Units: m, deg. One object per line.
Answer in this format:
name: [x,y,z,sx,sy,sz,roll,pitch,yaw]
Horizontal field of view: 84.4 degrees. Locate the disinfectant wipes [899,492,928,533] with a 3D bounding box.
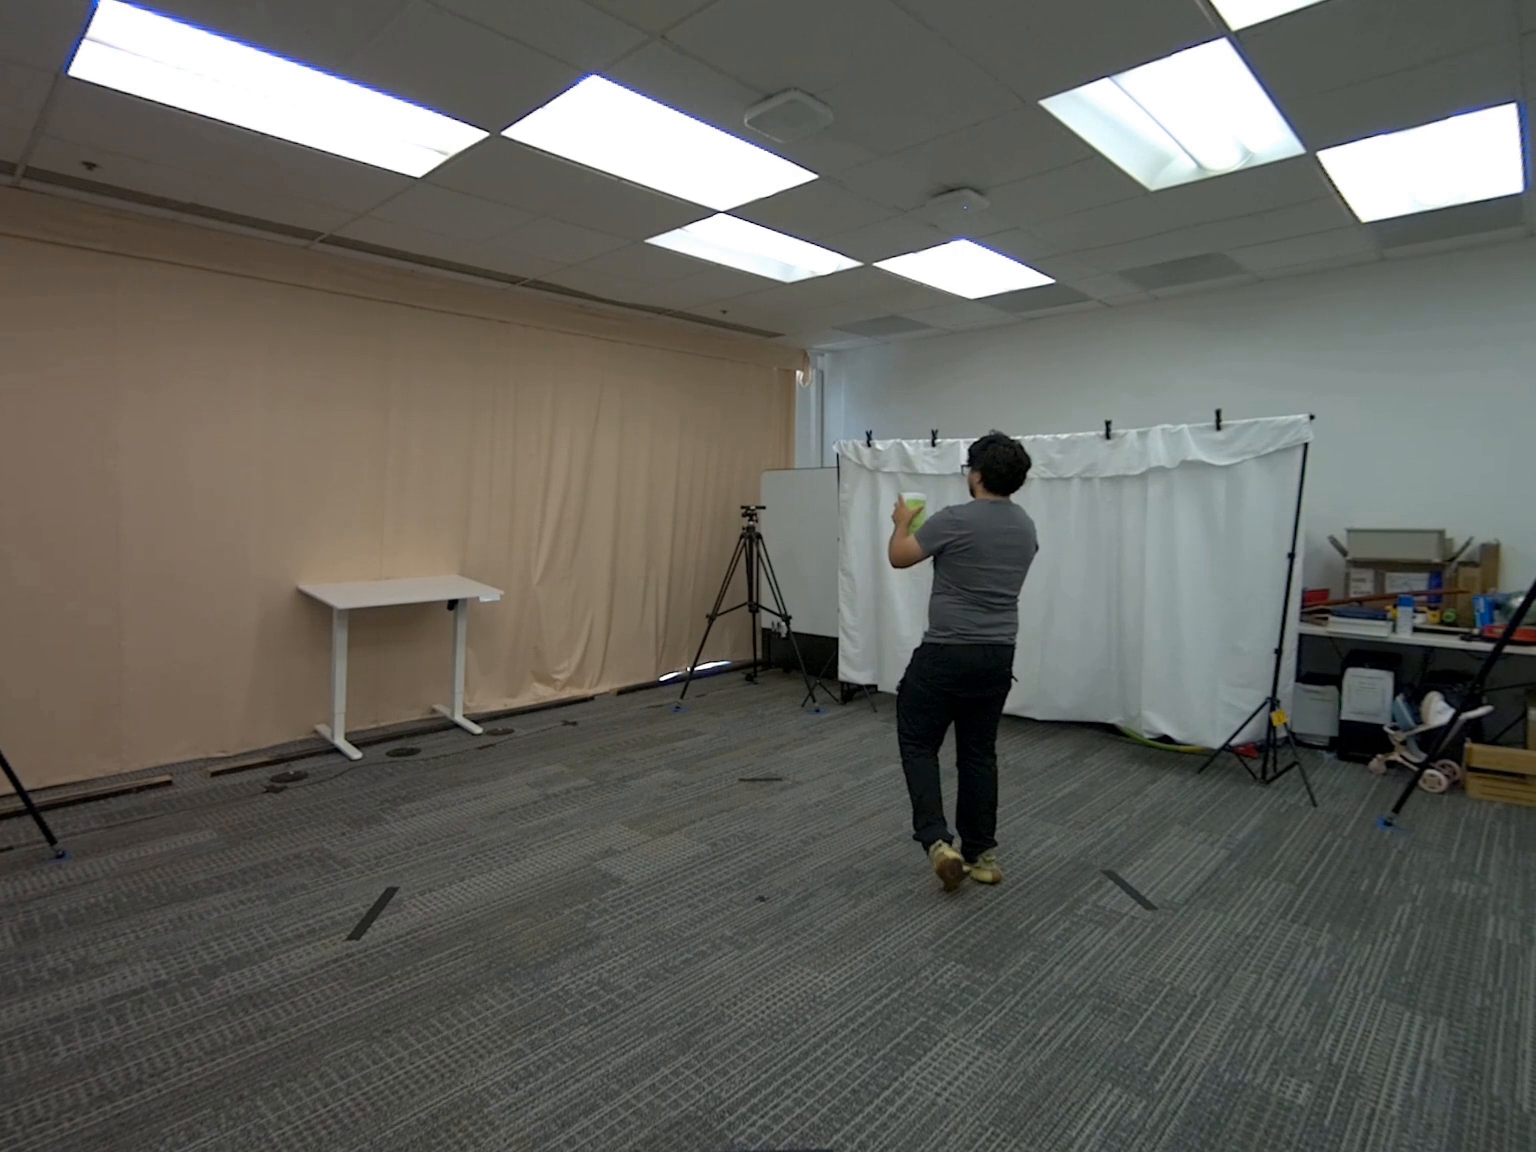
disinfectant wipes: [0.600,-0.233,3.487,0.118,0.217,0.118,4,-1,-2]
